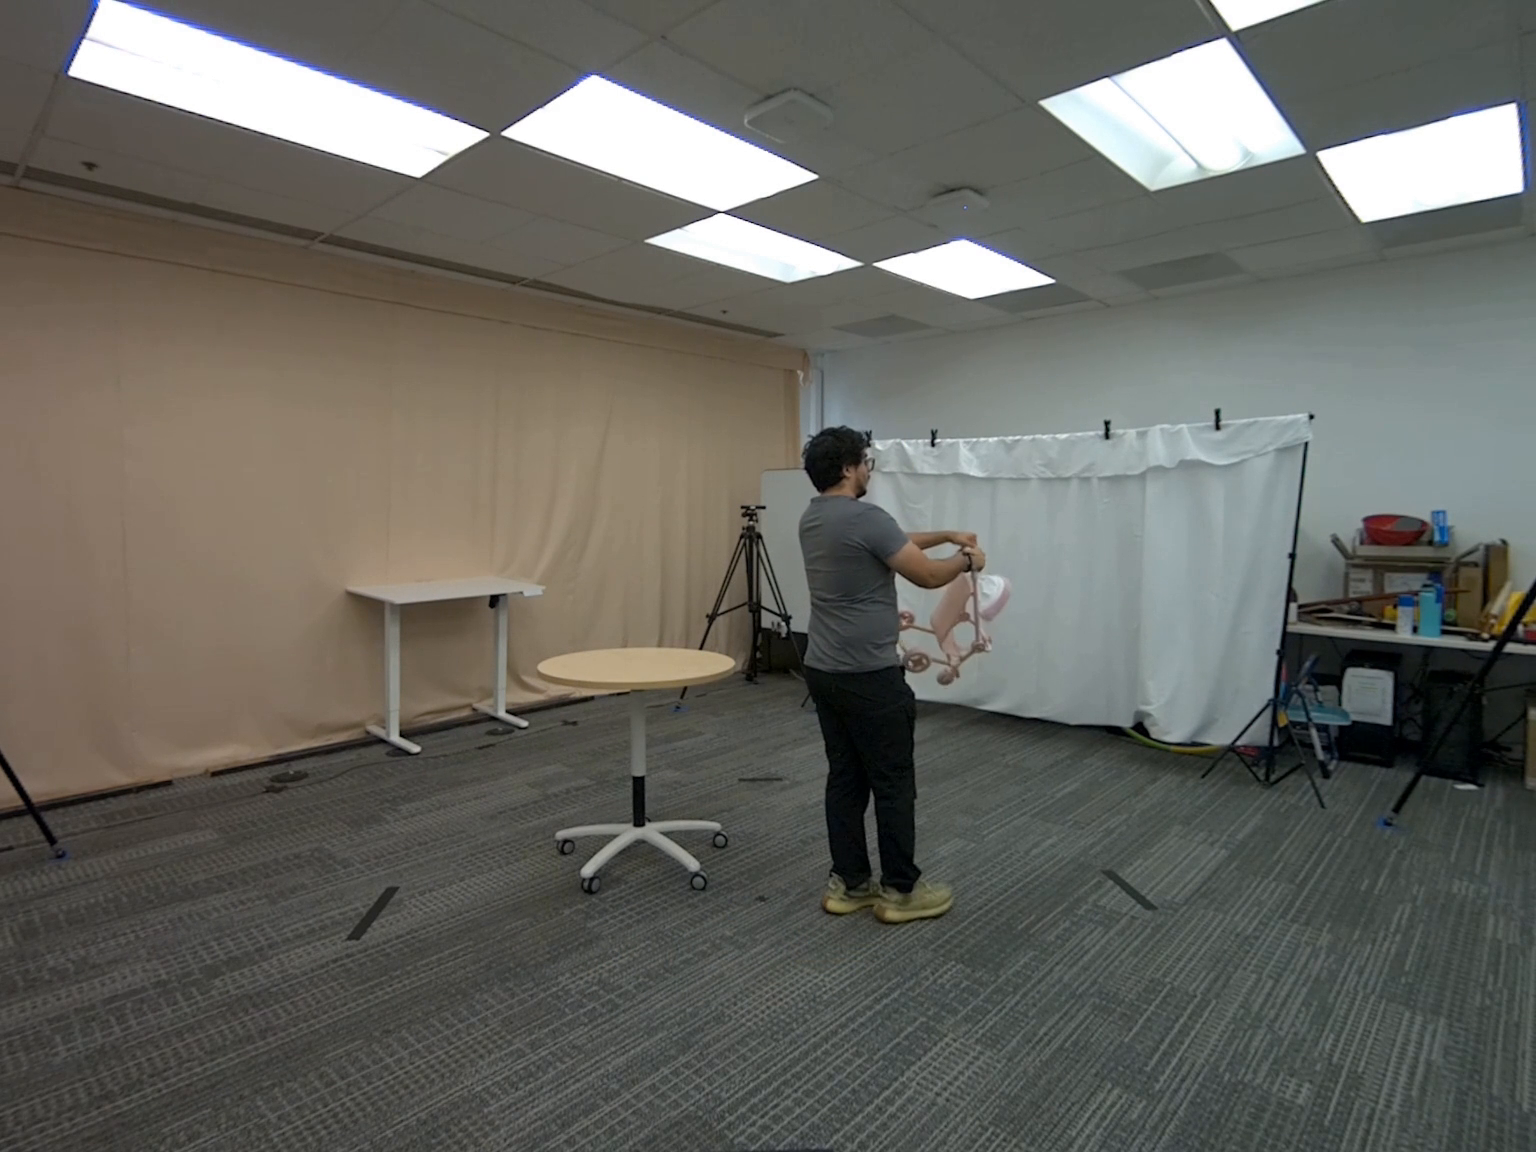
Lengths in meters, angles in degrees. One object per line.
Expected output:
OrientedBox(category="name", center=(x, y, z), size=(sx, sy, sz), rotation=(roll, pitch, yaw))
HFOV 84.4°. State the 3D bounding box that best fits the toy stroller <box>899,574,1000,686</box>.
OrientedBox(category="toy stroller", center=(0.714, 0.171, 3.158), size=(0.335, 0.536, 0.286), rotation=(28, 25, -15))
